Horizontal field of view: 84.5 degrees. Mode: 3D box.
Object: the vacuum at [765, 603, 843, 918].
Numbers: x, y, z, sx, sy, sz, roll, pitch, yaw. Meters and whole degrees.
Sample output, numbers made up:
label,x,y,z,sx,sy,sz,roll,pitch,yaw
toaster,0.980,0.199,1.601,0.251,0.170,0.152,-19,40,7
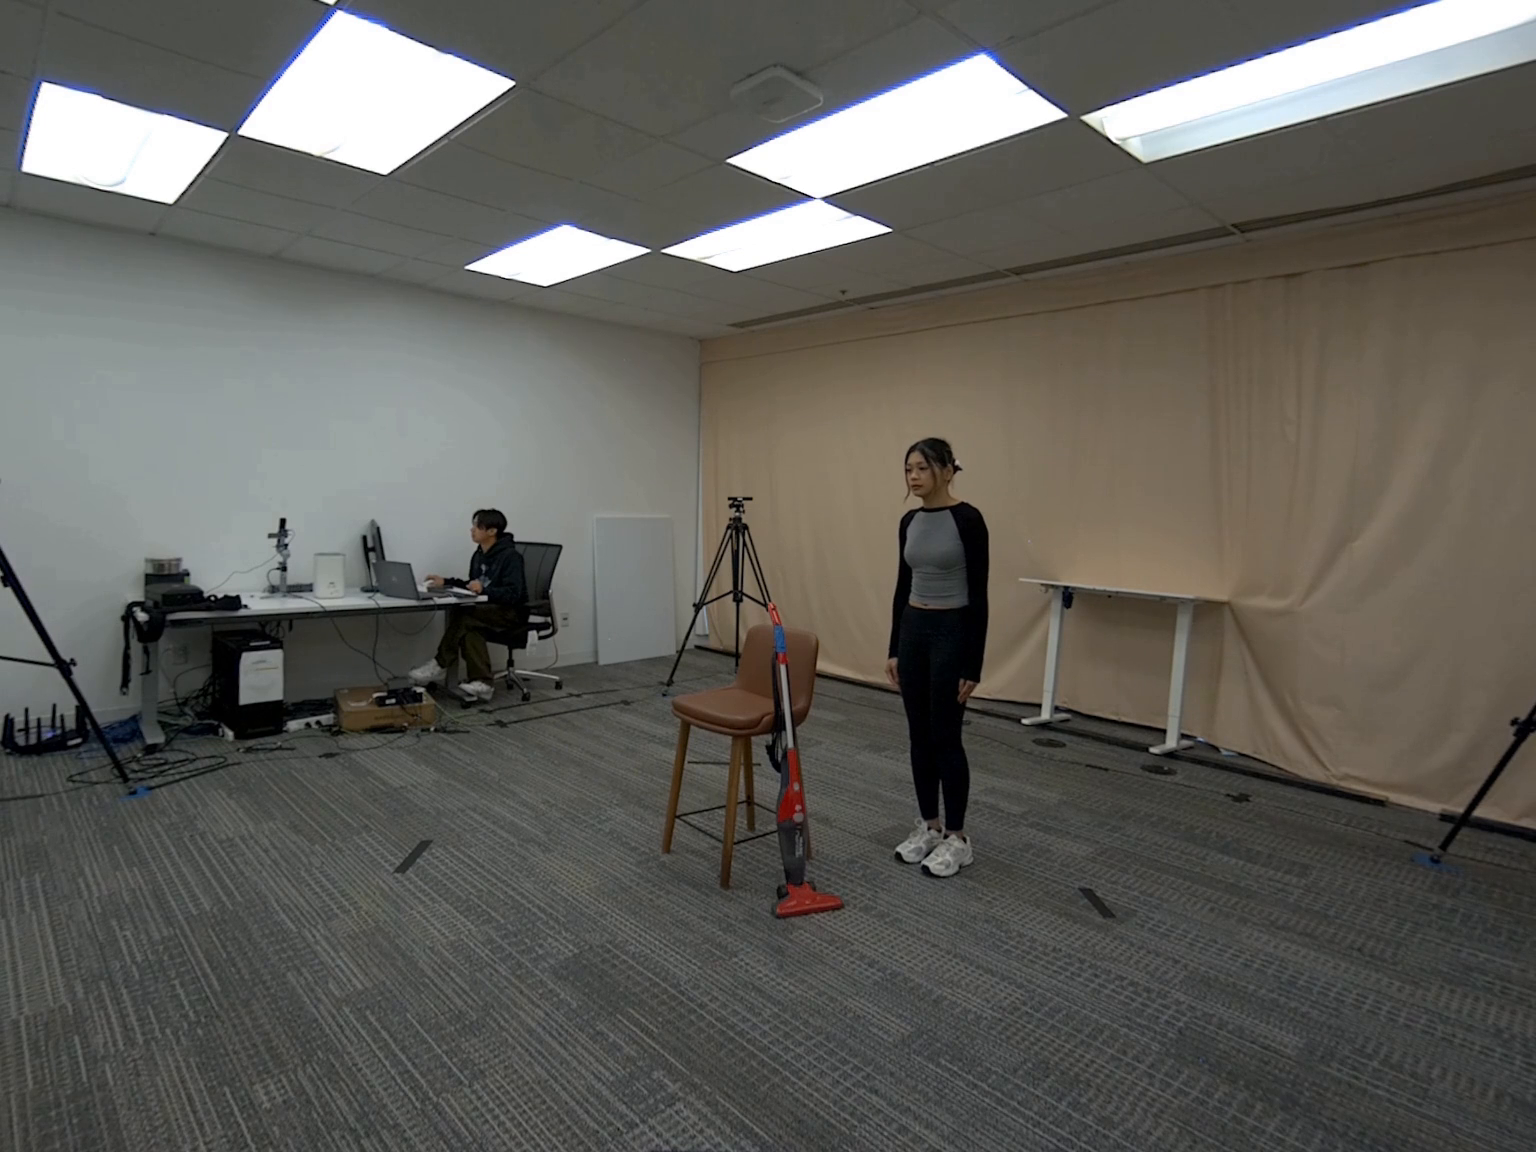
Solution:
label,x,y,z,sx,sy,sz,roll,pitch,yaw
vacuum,0.062,0.617,3.034,0.248,1.062,0.145,1,-16,-23
